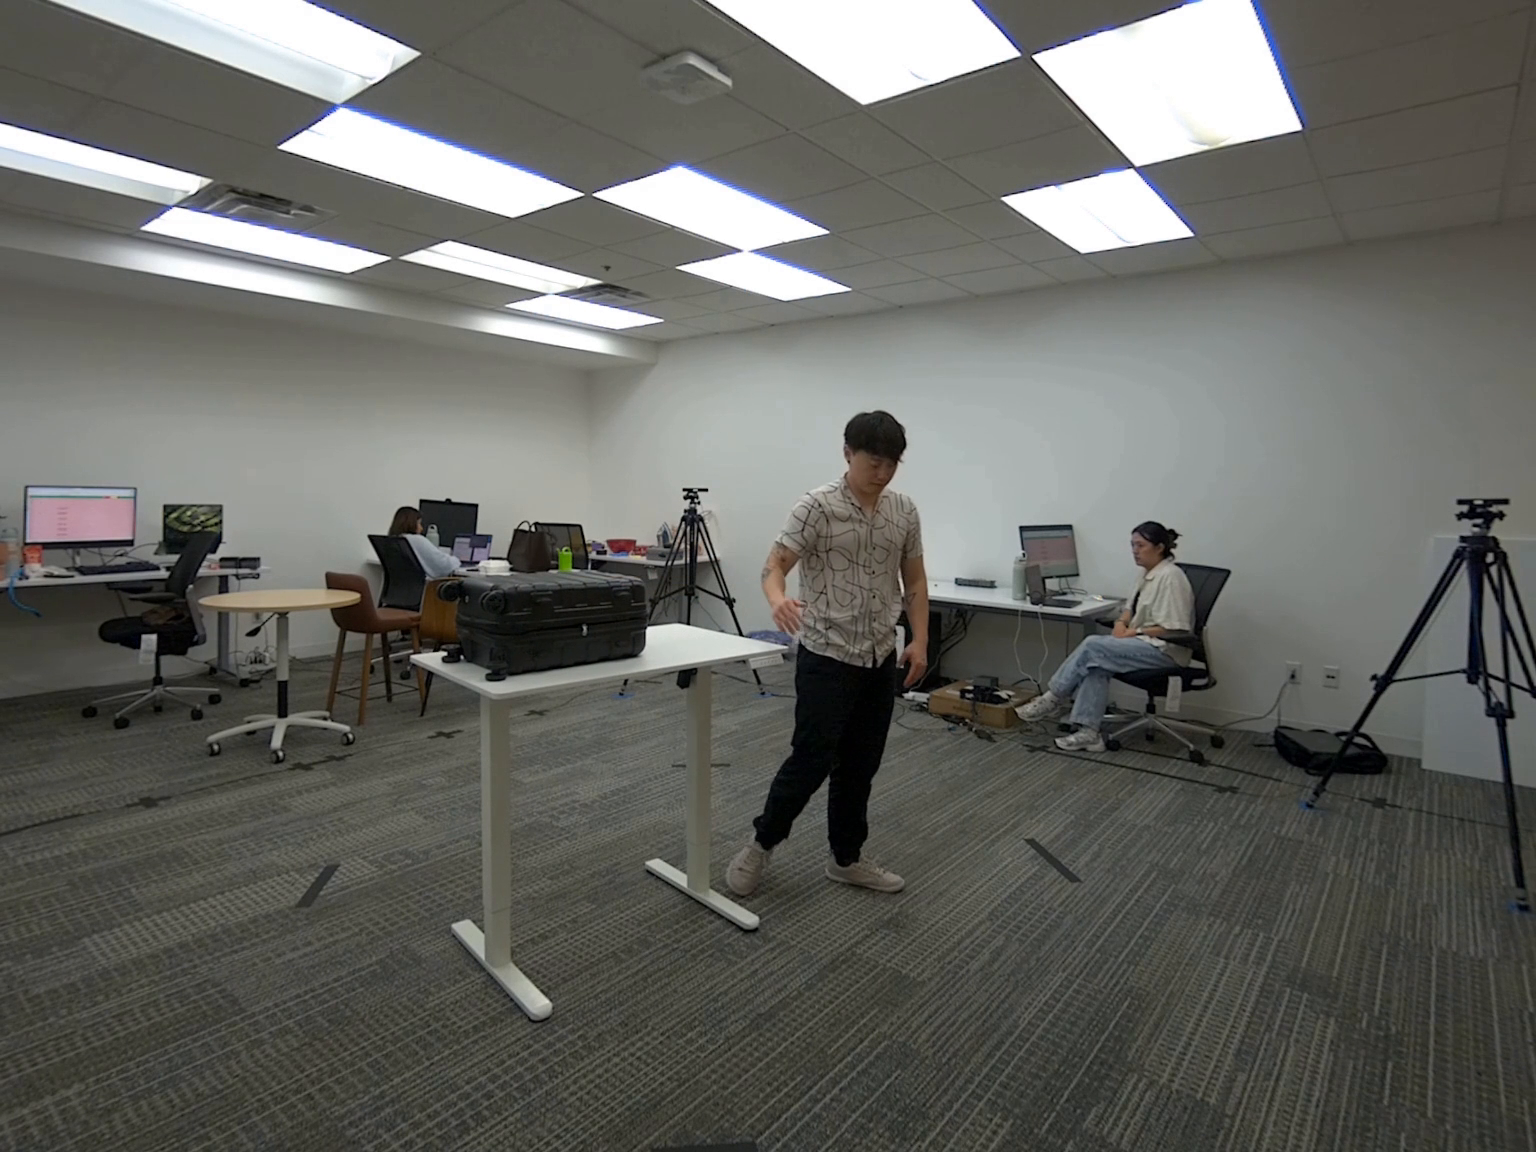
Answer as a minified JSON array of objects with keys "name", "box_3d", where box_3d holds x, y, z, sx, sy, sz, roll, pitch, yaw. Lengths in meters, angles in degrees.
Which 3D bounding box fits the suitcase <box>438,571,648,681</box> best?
[{"name":"suitcase","box_3d":[-0.658,0.124,2.519,0.533,0.247,0.388,-4,6,-43]}]
